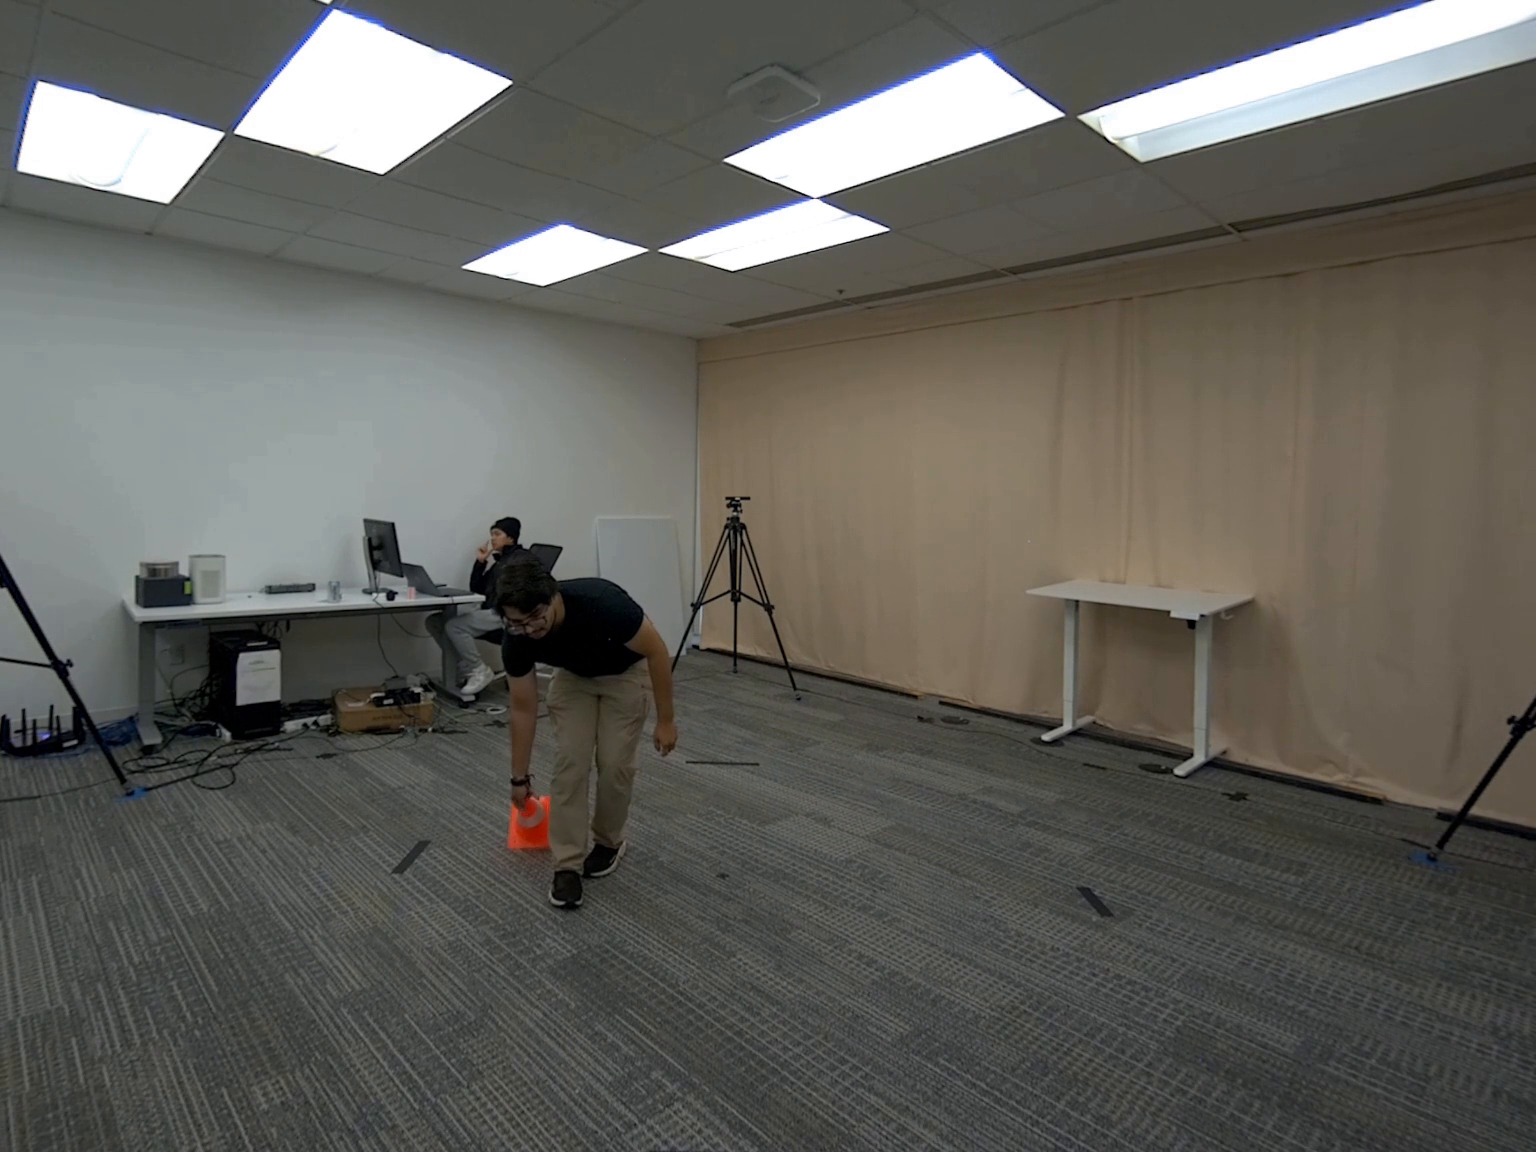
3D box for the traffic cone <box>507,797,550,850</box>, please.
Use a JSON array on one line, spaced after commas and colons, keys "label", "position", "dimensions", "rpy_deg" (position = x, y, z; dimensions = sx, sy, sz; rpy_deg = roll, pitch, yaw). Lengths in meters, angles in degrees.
[{"label": "traffic cone", "position": [-0.916, 0.897, 3.200], "dimensions": [0.202, 0.209, 0.378], "rpy_deg": [2, -28, -7]}]
